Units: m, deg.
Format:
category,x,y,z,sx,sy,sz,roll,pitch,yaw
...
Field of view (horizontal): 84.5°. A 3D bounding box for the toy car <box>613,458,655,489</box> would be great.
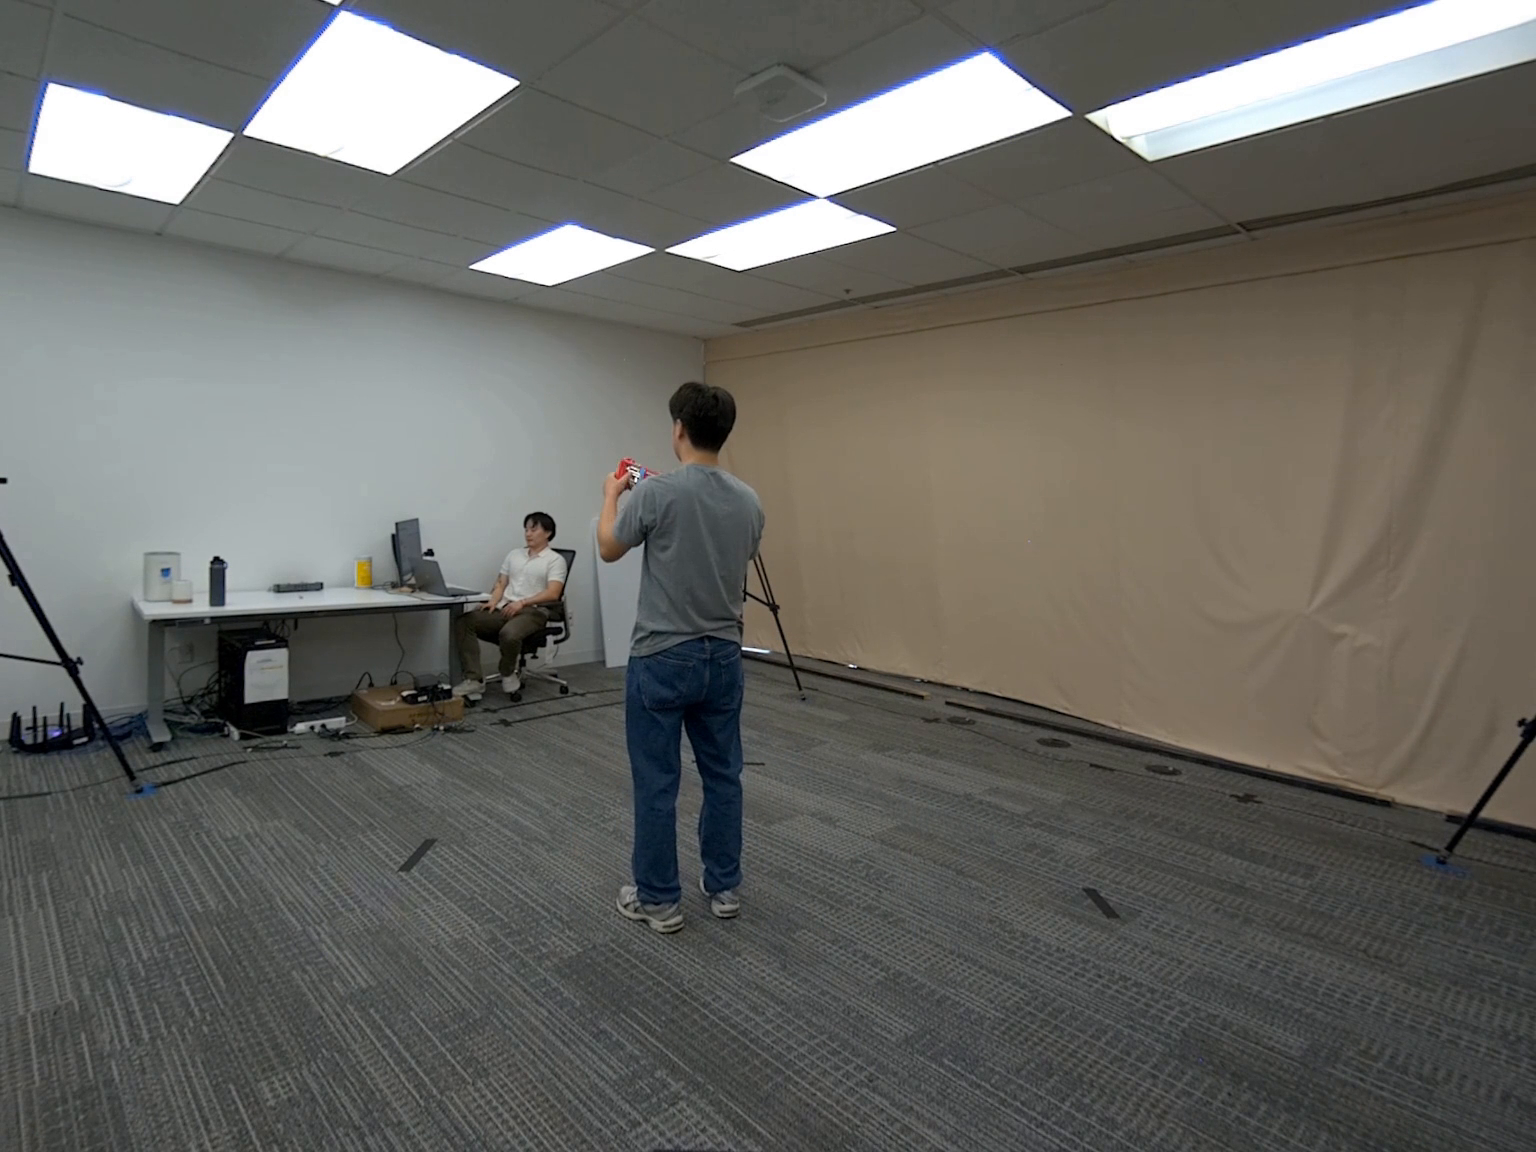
category,x,y,z,sx,sy,sz,roll,pitch,yaw
toy car,-0.431,-0.326,3.036,0.250,0.132,0.084,20,-22,-19
